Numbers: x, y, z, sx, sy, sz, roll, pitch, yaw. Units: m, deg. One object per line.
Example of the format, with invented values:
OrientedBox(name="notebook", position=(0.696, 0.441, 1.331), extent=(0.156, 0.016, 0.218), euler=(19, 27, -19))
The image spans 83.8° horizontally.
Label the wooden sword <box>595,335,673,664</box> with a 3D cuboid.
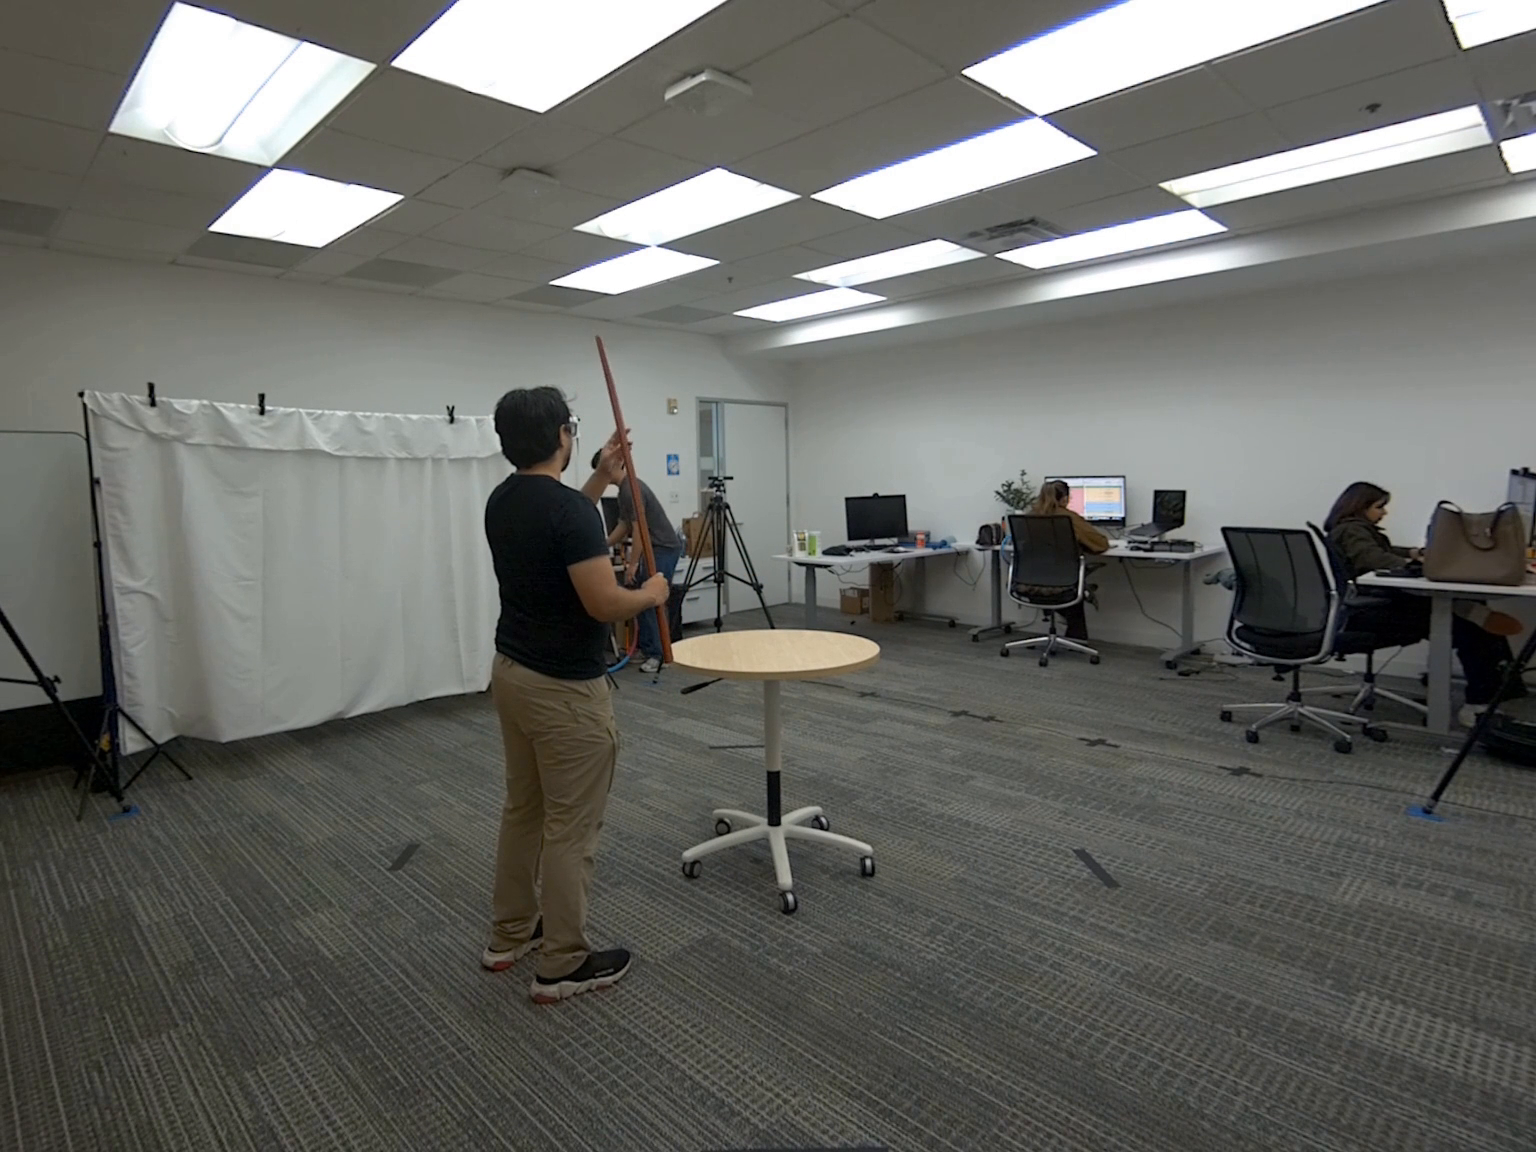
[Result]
OrientedBox(name="wooden sword", position=(-0.411, -0.253, 2.583), extent=(0.052, 1.034, 0.023), euler=(-14, -8, 15))
